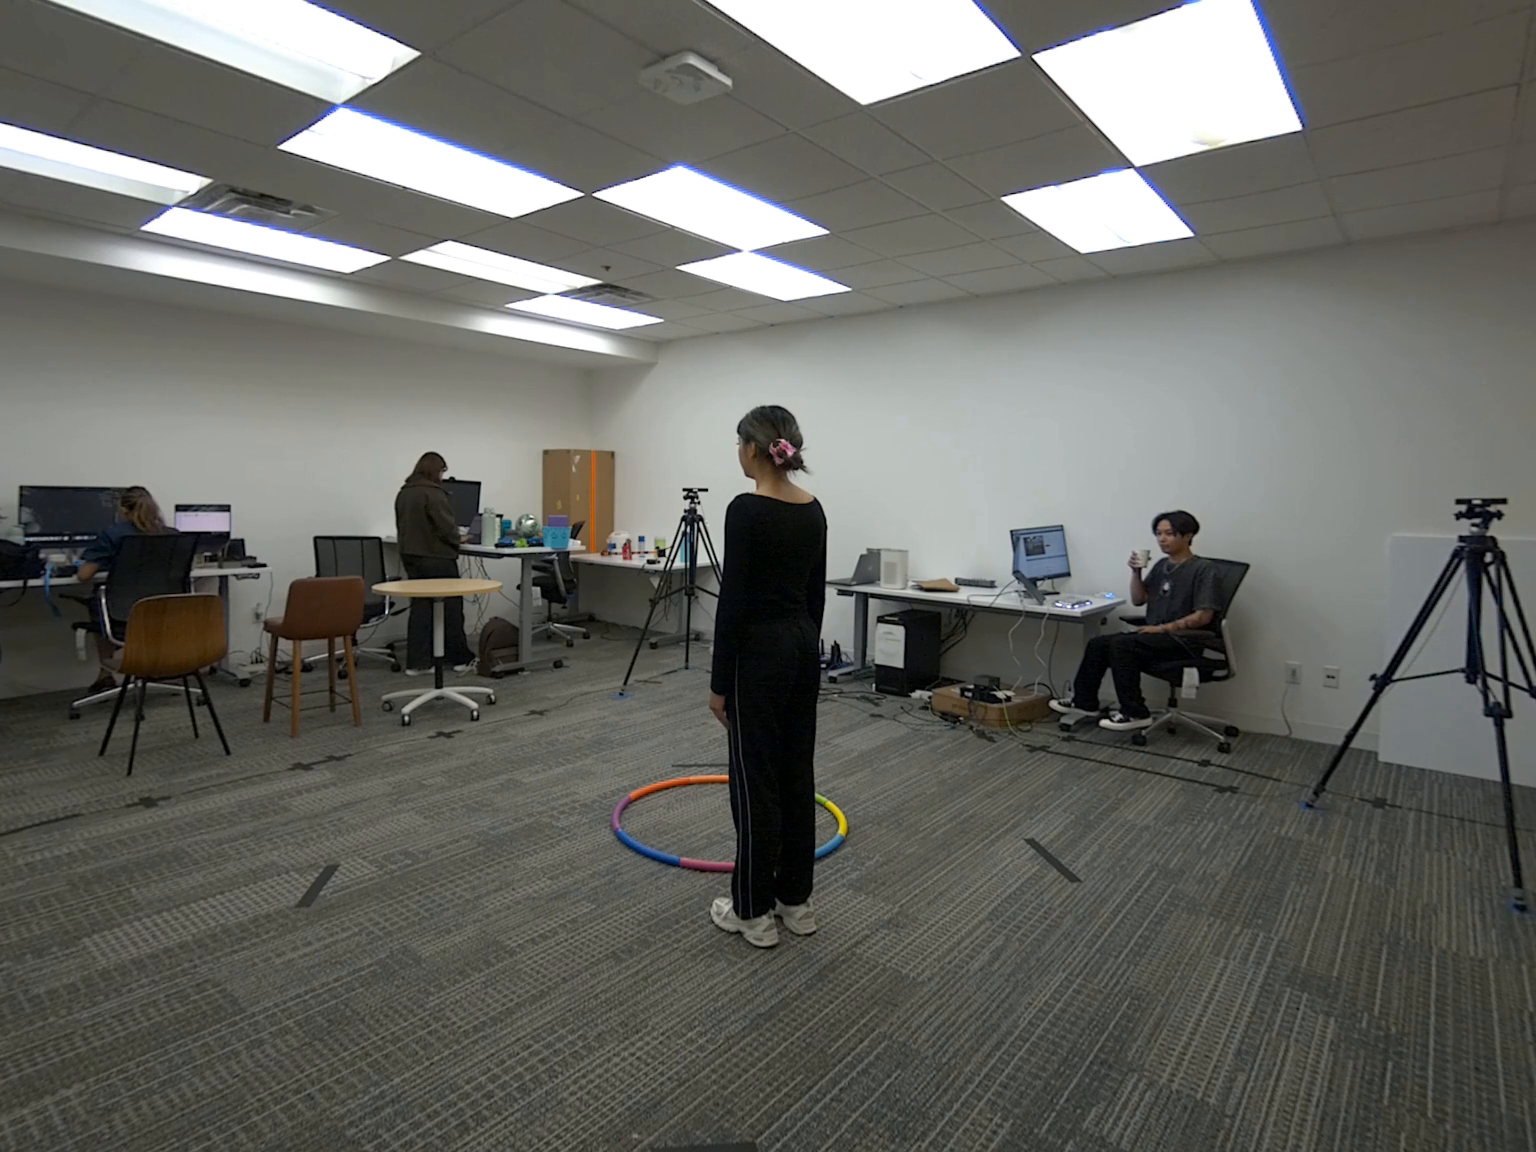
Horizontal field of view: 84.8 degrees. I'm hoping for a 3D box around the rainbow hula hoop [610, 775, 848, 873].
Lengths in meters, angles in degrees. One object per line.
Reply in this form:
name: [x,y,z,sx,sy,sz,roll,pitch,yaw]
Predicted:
rainbow hula hoop: [-0.176,0.997,3.561,0.978,0.035,0.985,1,6,-2]
